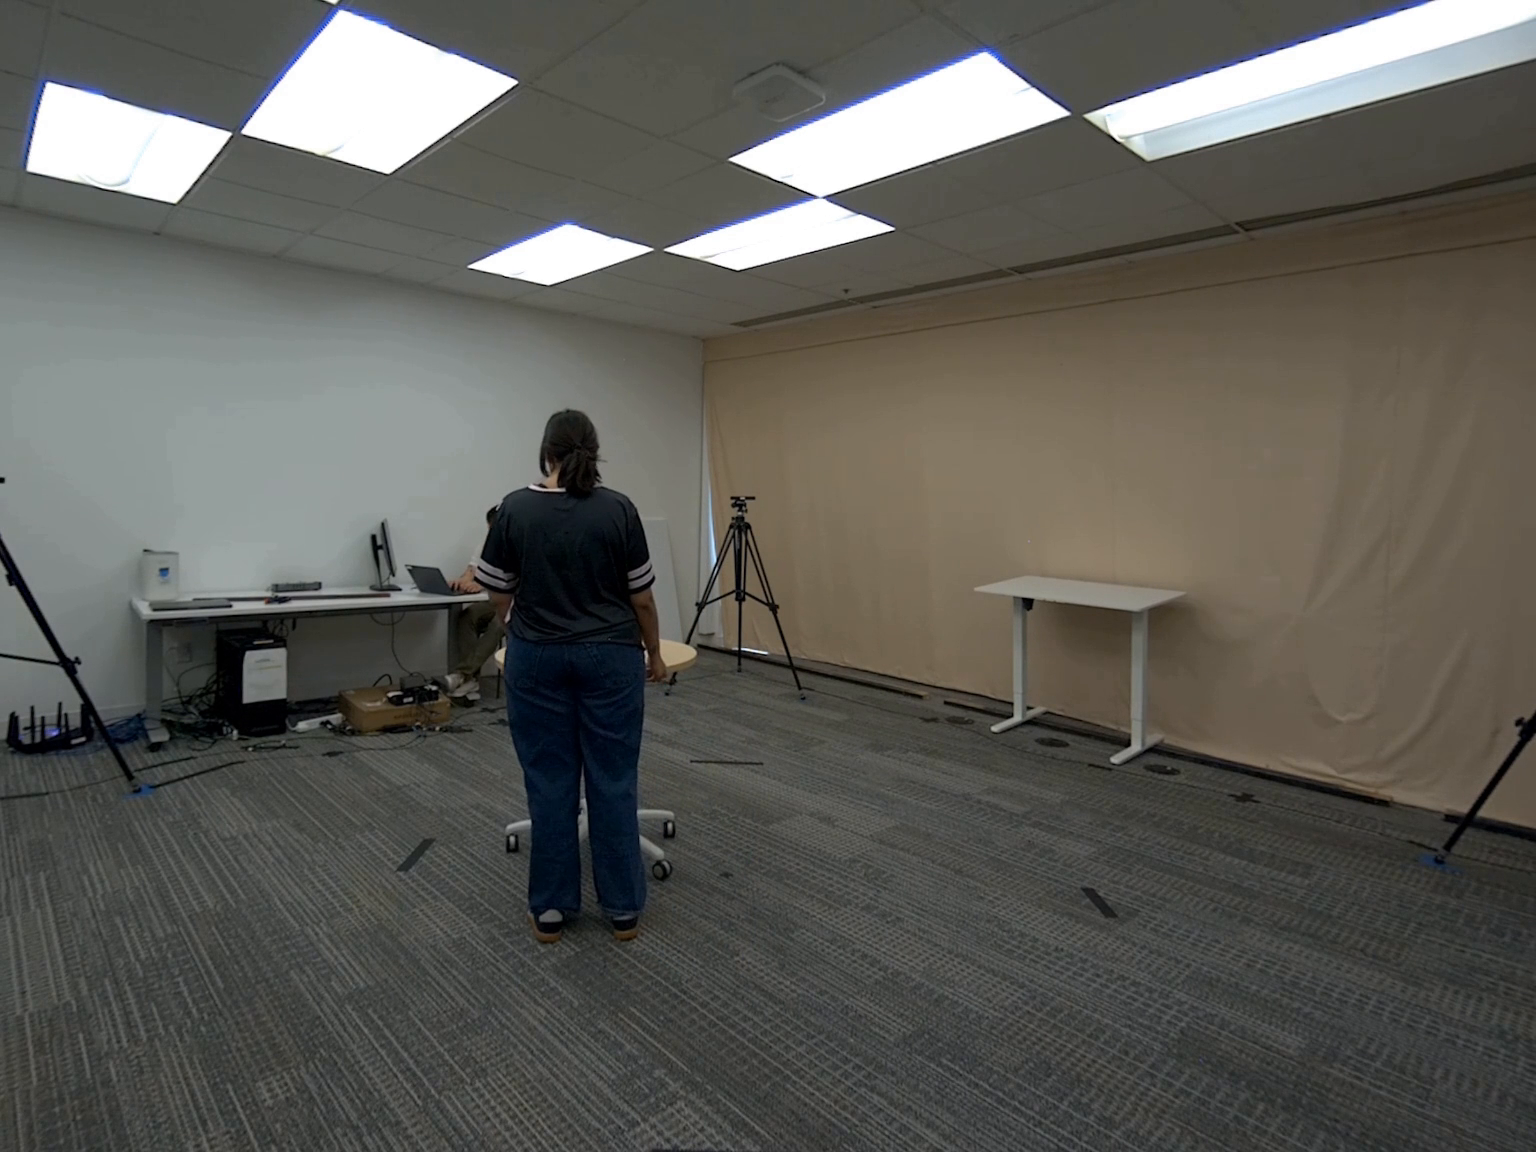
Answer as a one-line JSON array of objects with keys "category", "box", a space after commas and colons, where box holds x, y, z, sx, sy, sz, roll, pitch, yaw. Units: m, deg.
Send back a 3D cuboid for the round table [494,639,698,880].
[{"category": "round table", "box": [-0.663, 0.693, 3.266, 0.763, 0.792, 0.767, 1, 4, -1]}]
